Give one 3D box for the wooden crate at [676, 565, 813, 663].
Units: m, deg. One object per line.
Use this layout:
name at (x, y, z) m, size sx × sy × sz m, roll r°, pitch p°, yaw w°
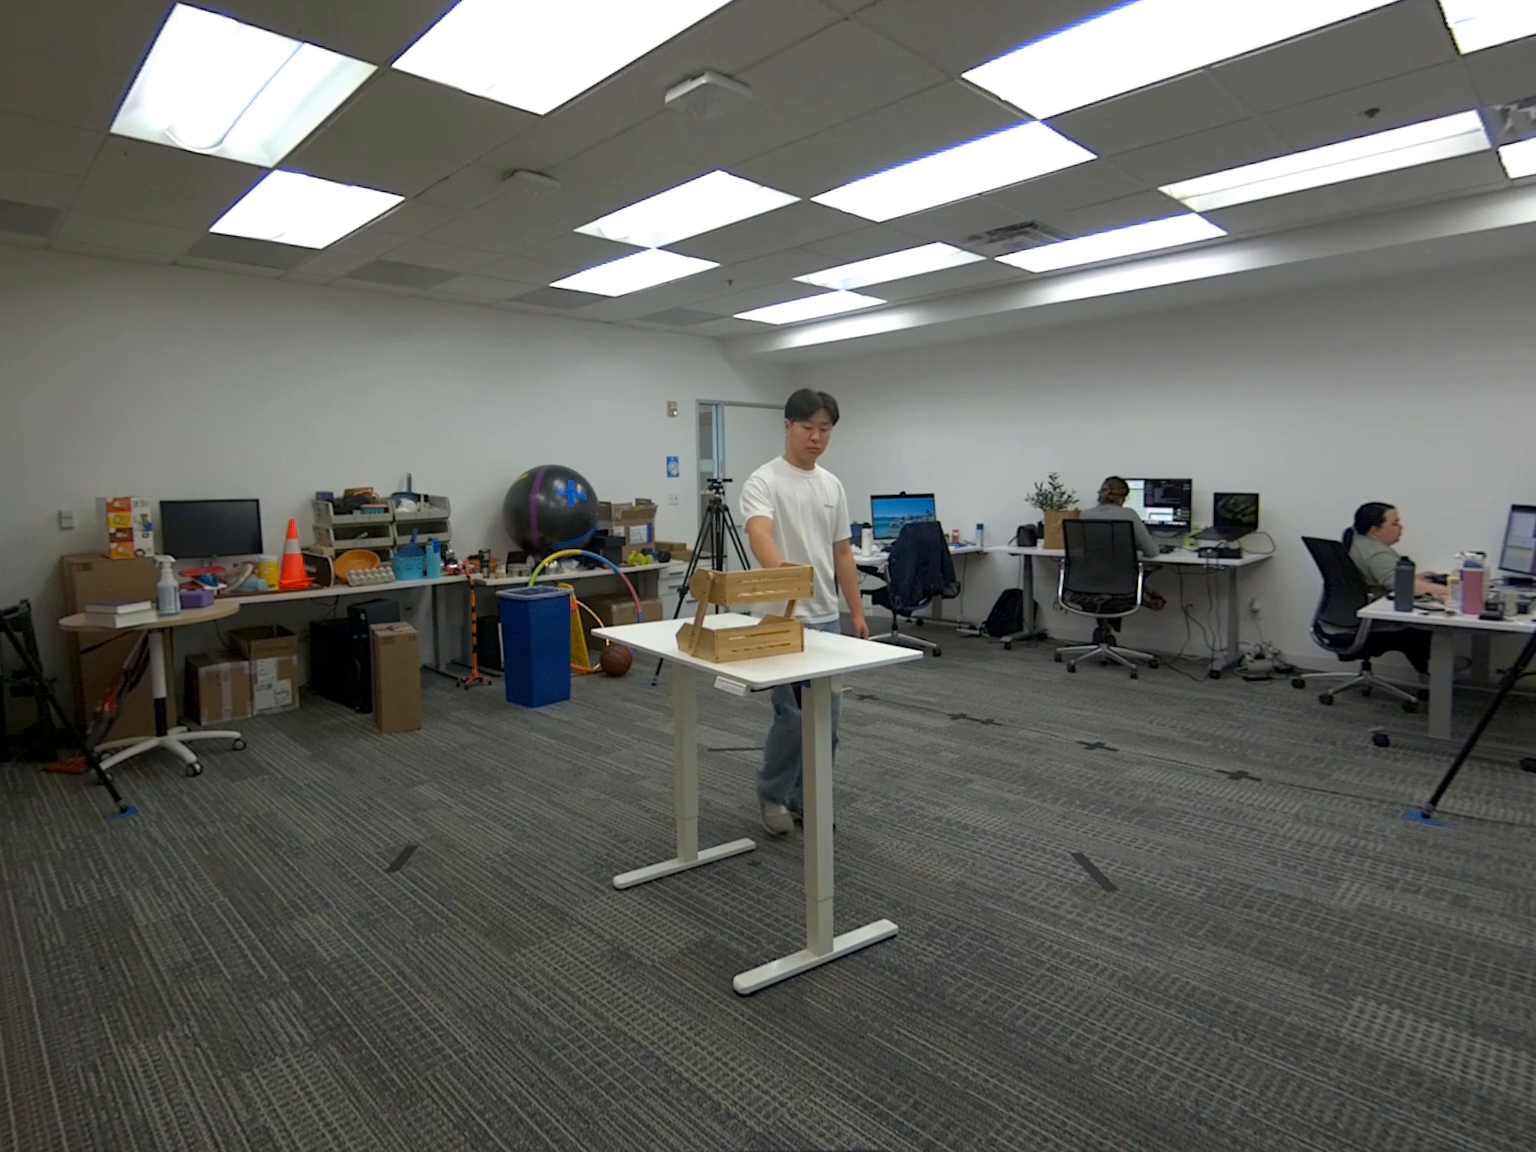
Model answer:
wooden crate at (-0.069, 0.094, 2.531) m, size 0.317 × 0.272 × 0.311 m, roll -5°, pitch 7°, yaw -32°
